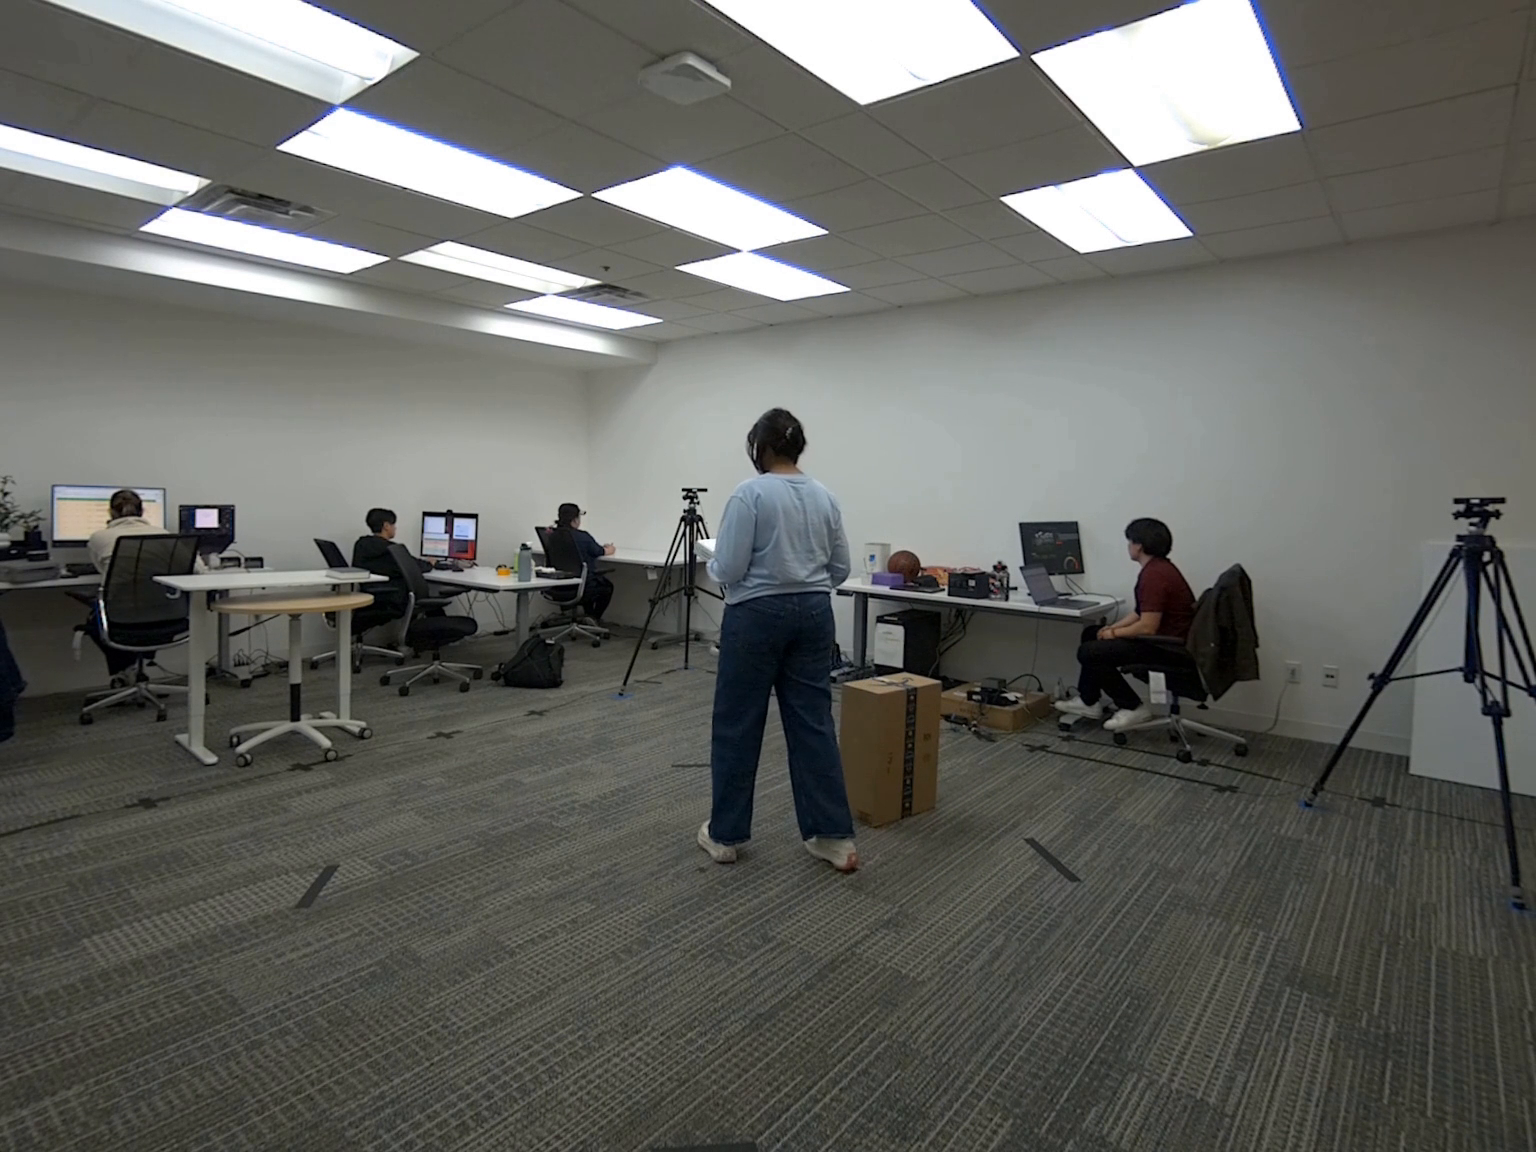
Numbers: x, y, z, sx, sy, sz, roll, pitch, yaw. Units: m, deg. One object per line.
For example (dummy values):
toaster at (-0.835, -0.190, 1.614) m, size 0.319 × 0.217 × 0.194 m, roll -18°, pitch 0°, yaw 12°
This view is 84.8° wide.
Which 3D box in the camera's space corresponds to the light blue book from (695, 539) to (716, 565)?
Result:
light blue book at (-0.142, -0.079, 3.451) m, size 0.186 × 0.058 × 0.272 m, roll -8°, pitch 29°, yaw -41°
